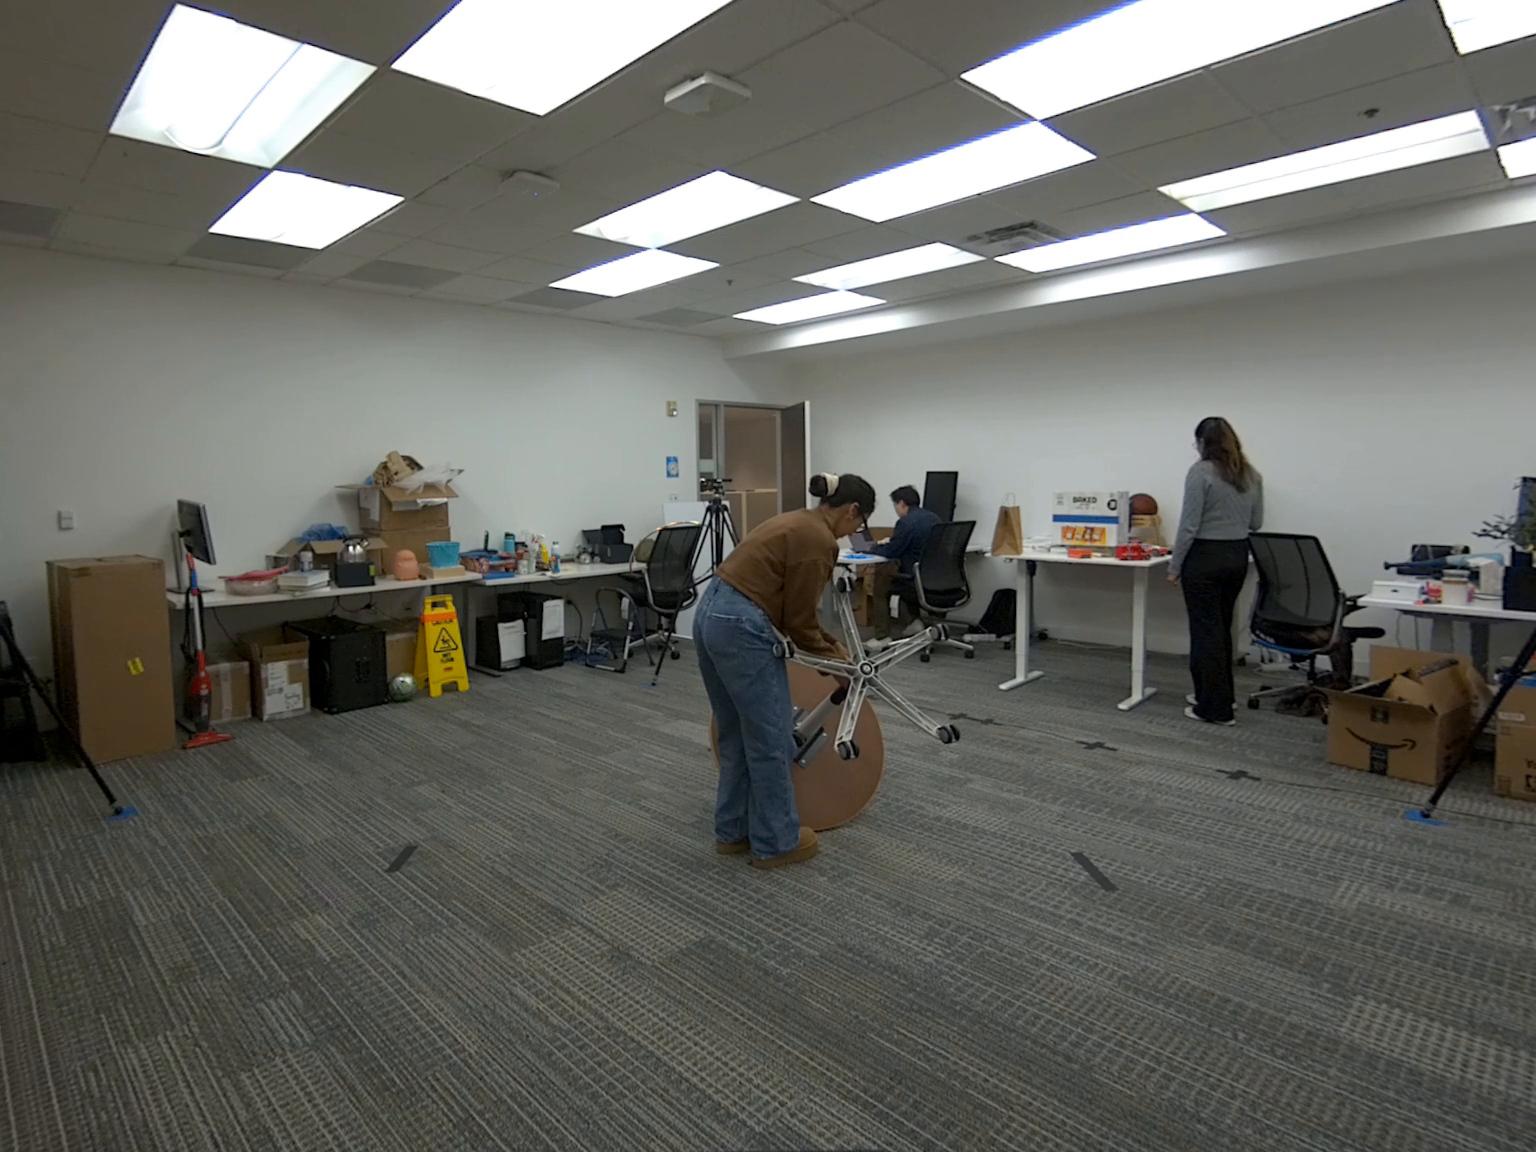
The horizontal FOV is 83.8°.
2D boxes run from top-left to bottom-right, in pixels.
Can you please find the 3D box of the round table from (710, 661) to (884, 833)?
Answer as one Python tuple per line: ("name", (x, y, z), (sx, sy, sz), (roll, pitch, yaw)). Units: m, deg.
("round table", (0.256, 0.480, 3.272), (0.750, 0.785, 0.786), (-3, -30, -21))
